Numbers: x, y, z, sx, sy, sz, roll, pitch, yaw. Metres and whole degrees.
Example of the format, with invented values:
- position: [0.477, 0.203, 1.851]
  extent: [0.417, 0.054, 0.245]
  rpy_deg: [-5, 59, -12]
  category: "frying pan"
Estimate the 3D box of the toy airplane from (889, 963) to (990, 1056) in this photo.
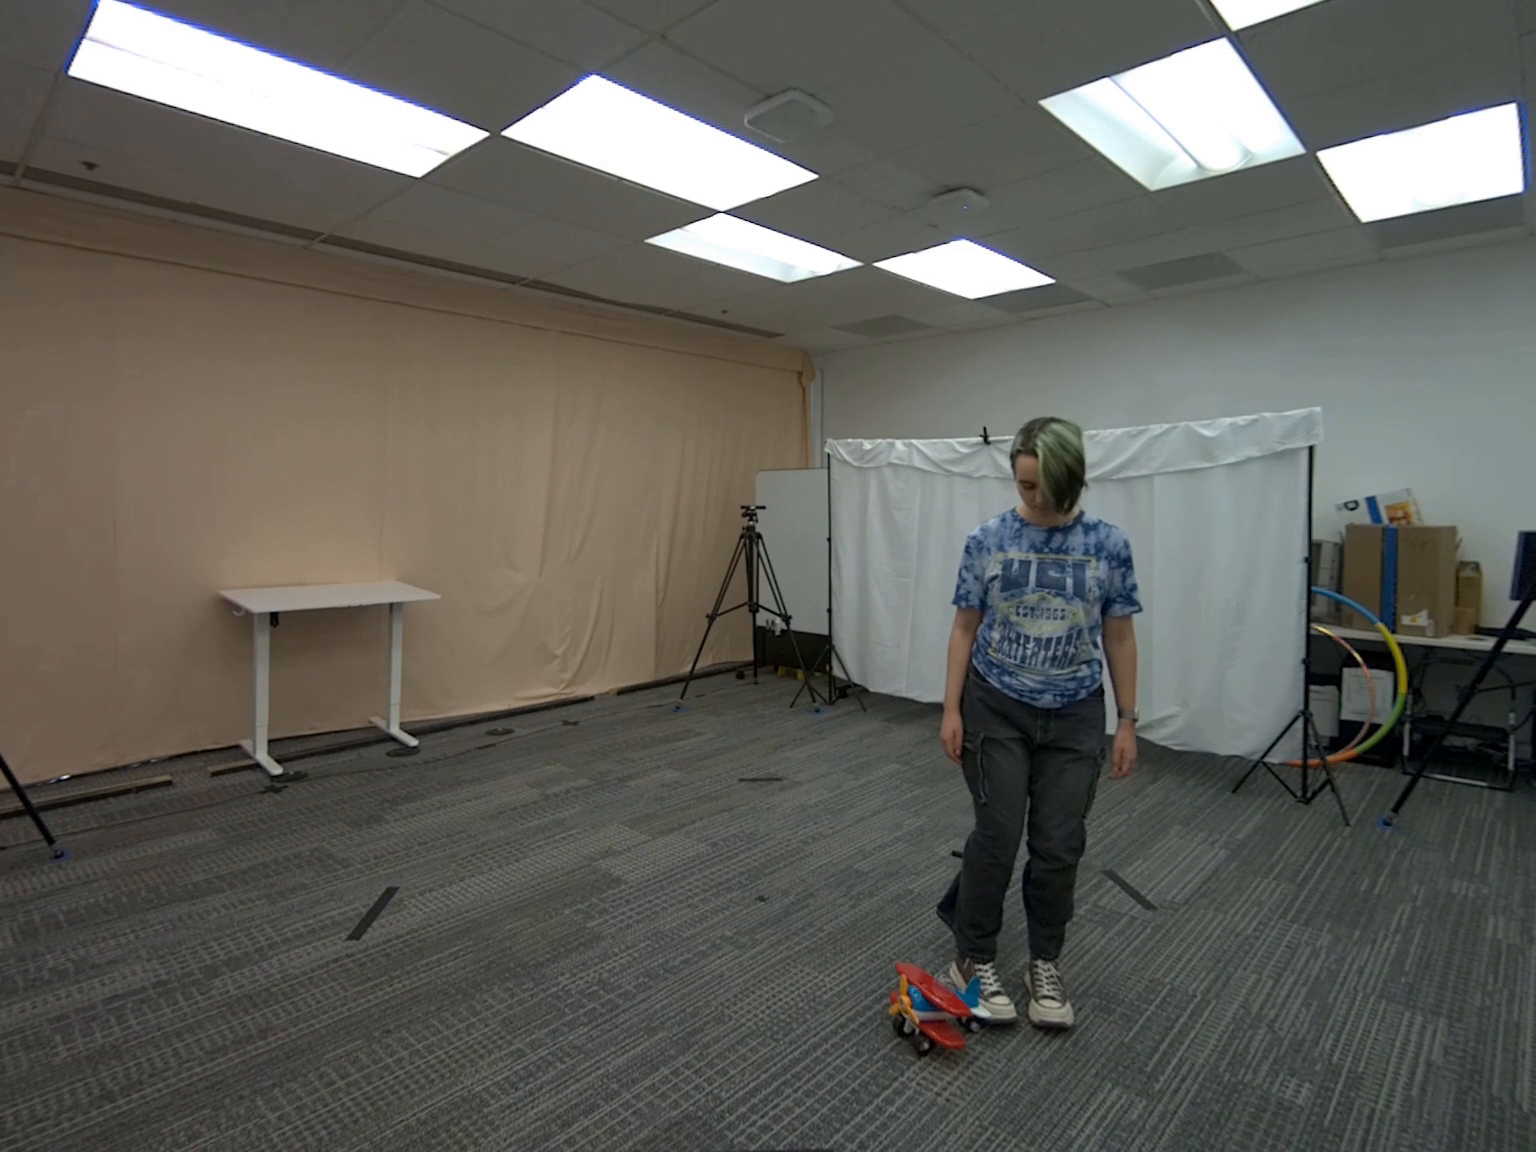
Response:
- position: [0.450, 1.133, 2.220]
  extent: [0.259, 0.156, 0.252]
  rpy_deg: [1, 7, 36]
  category: "toy airplane"
